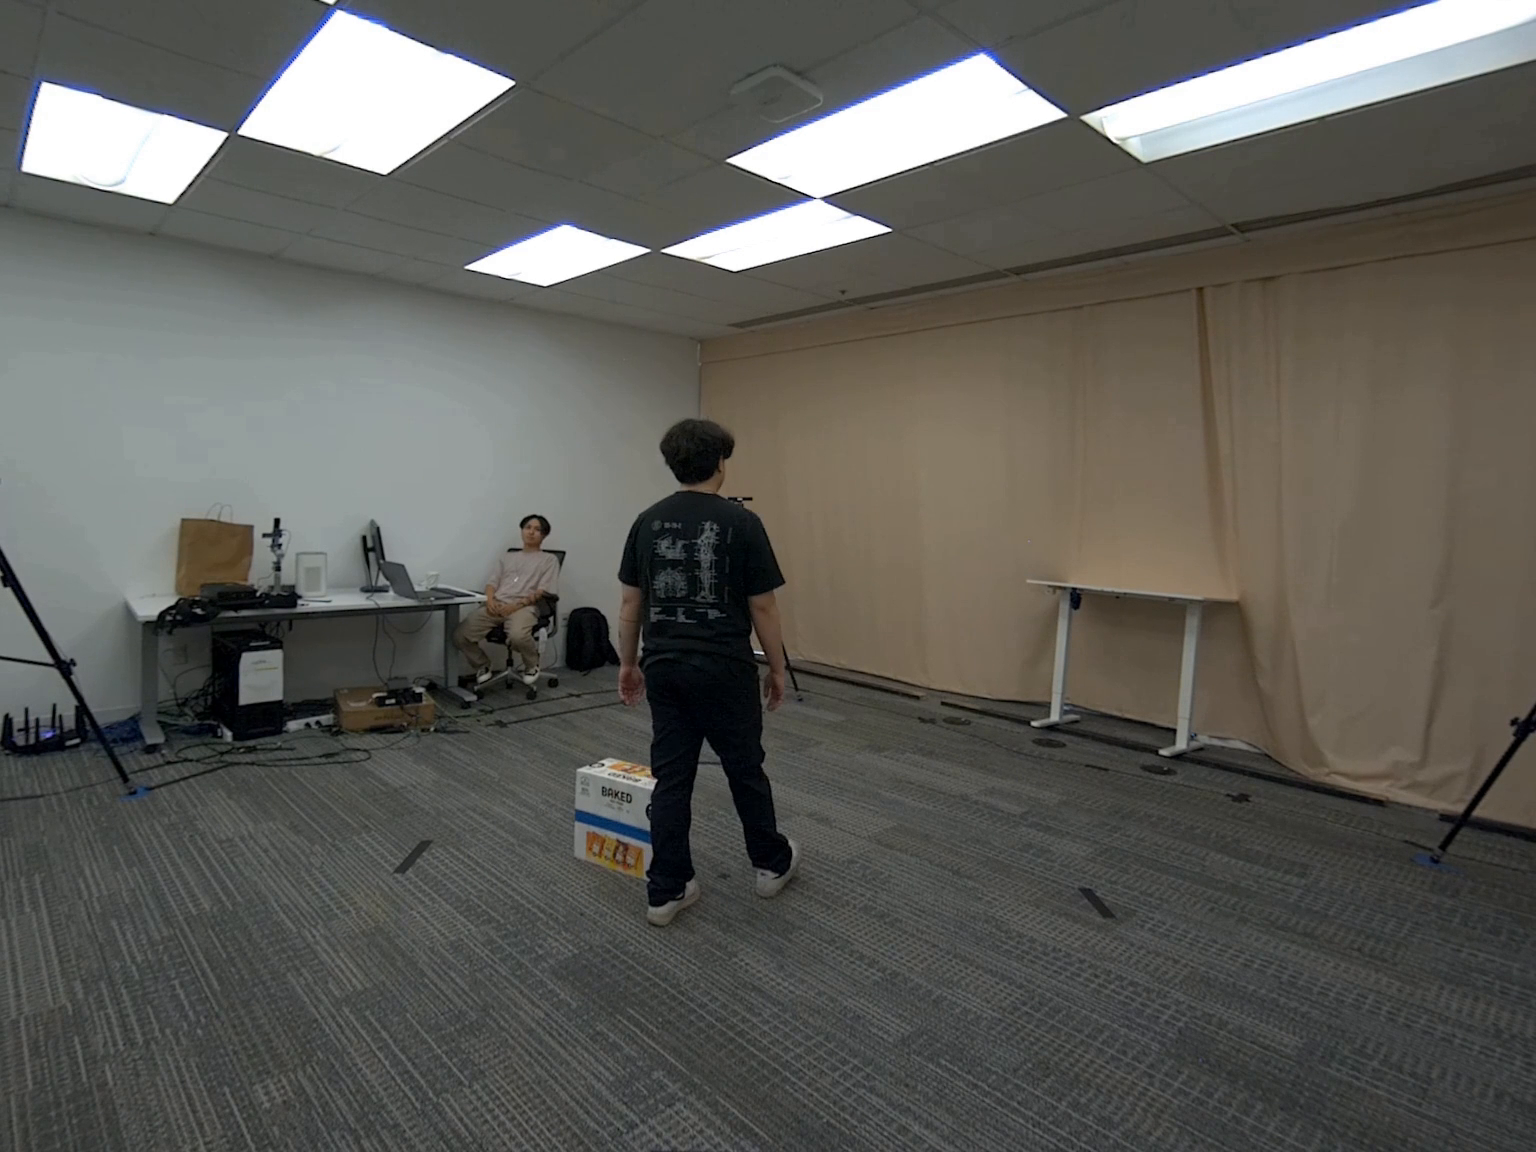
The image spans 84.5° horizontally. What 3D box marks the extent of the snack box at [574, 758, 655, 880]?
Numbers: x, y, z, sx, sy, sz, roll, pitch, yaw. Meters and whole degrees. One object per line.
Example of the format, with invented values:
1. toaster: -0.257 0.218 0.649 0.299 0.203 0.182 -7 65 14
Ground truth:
1. snack box: -0.523 0.919 3.209 0.414 0.339 0.201 5 4 31
